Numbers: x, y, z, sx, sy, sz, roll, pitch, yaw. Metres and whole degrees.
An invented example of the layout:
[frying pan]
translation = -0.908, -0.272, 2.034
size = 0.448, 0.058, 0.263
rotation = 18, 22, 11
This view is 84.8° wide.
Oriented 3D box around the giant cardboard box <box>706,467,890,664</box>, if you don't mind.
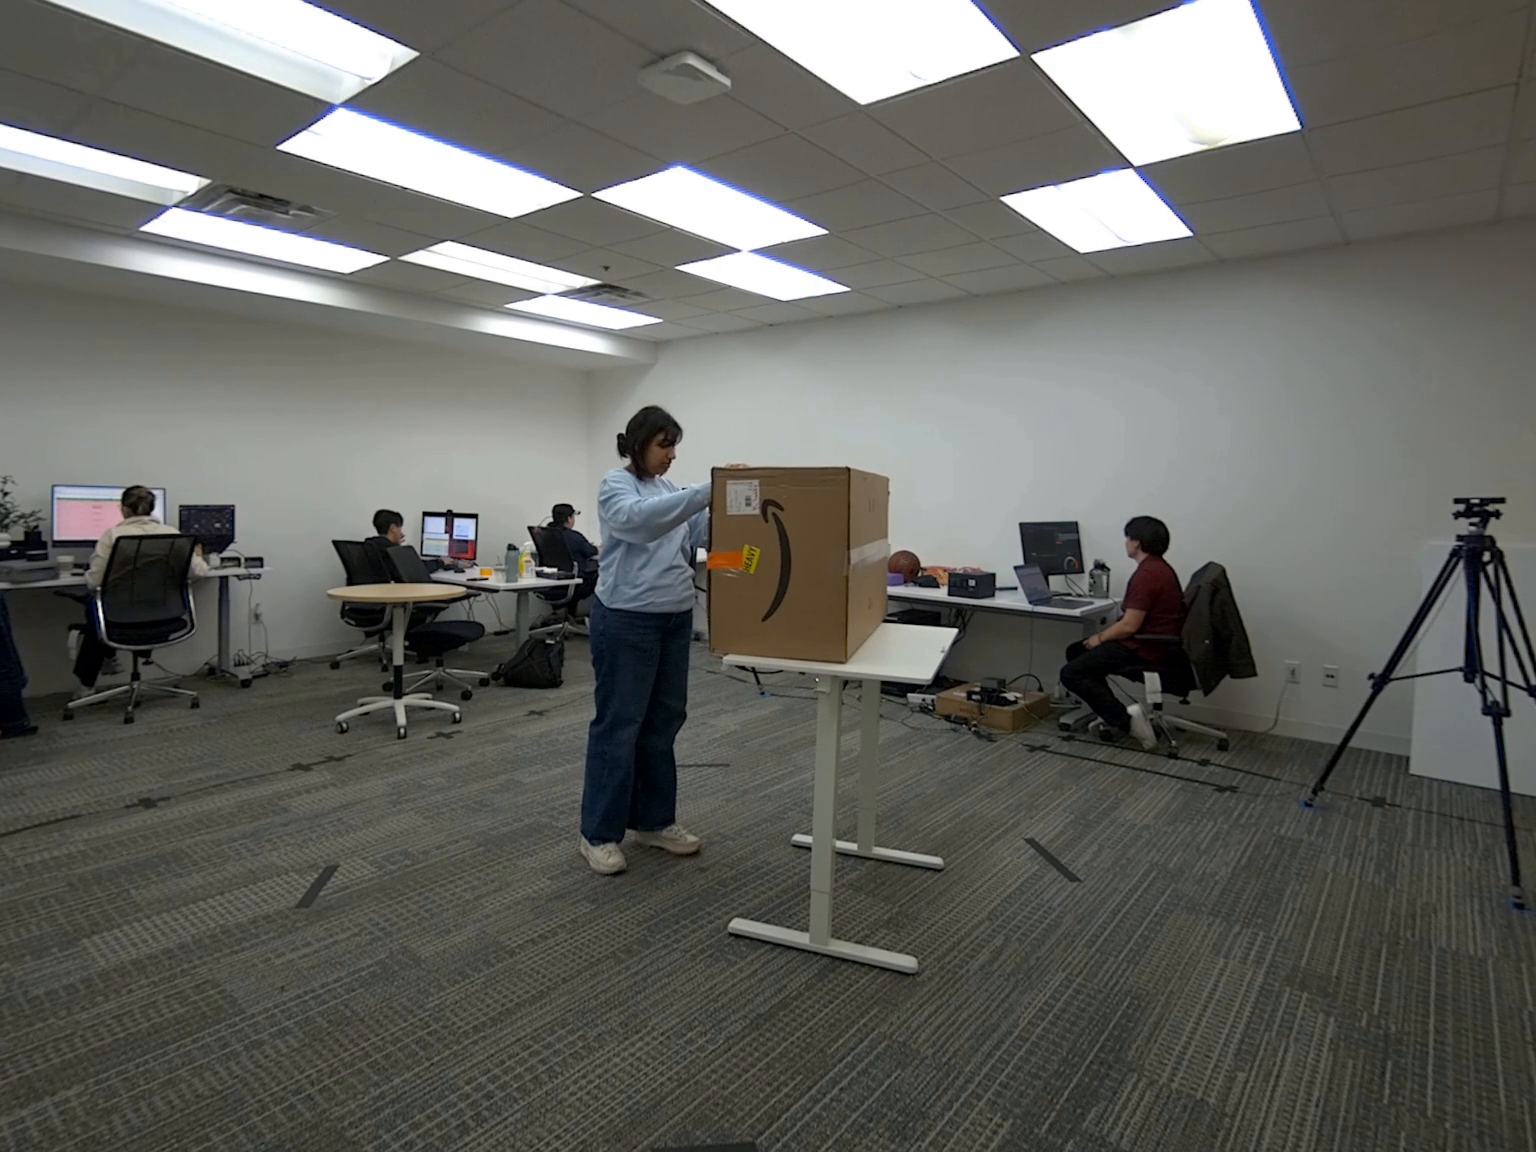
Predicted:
[giant cardboard box]
translation = 0.145, -0.086, 3.008
size = 0.433, 0.576, 1.011
rotation = 1, 4, 15
